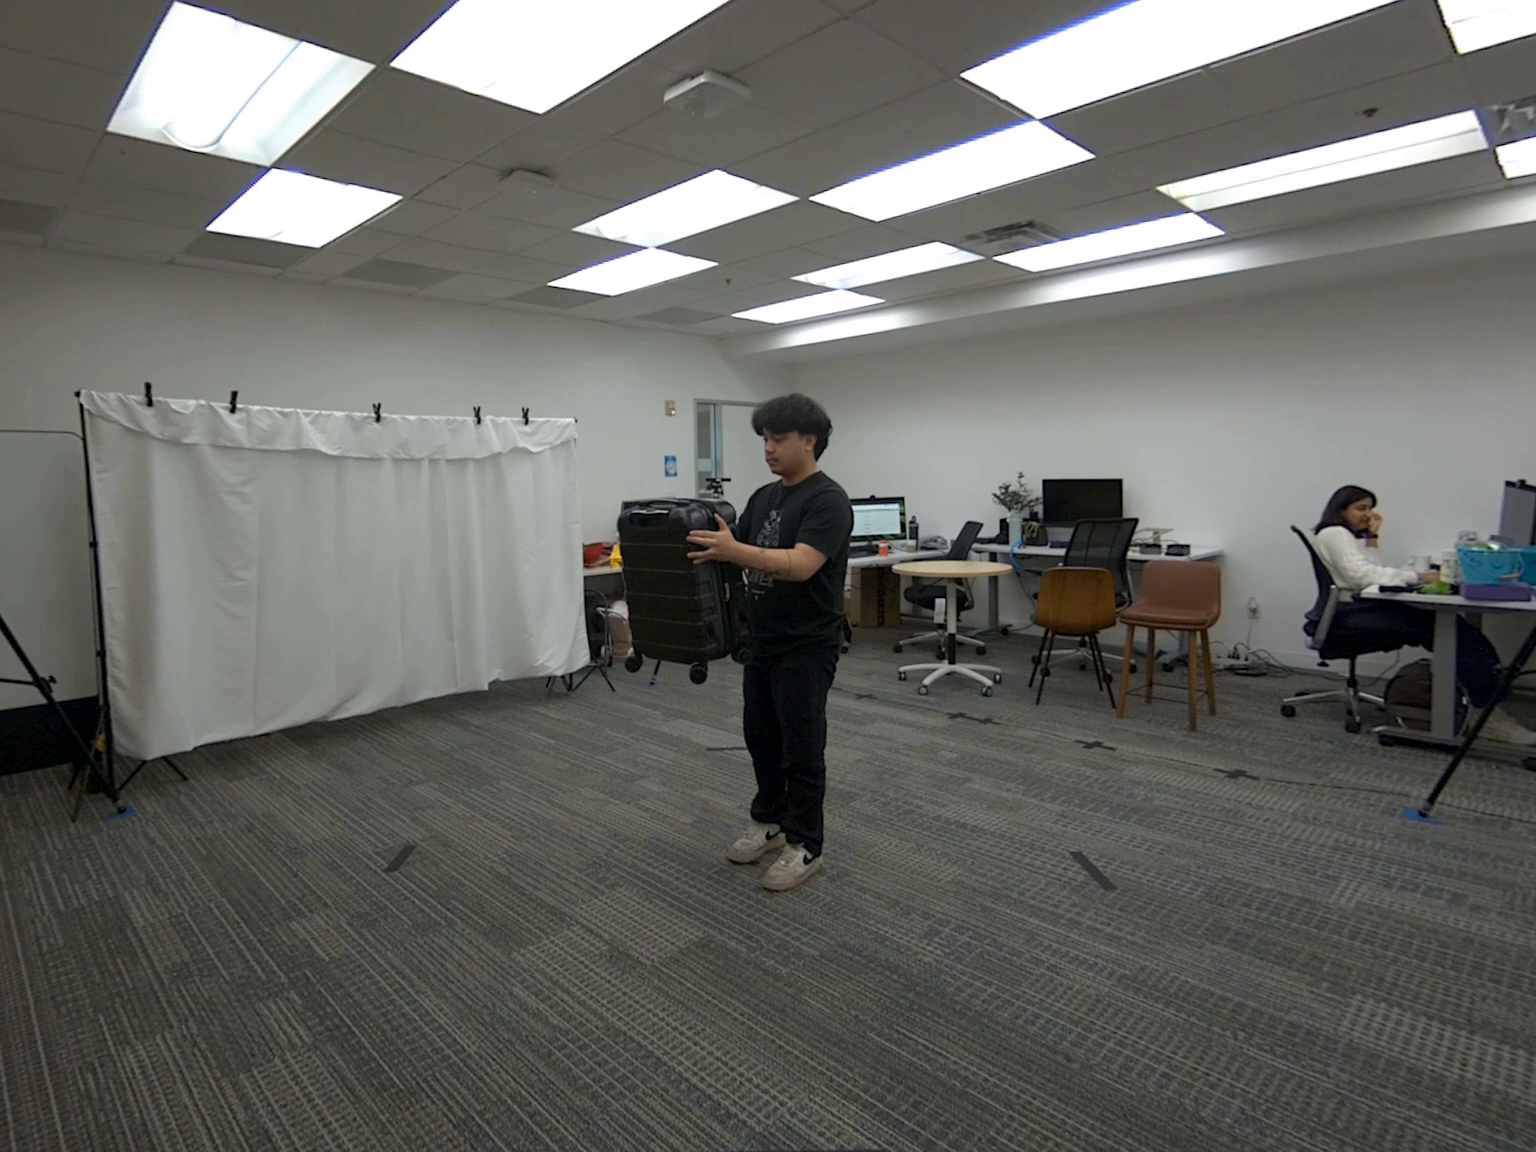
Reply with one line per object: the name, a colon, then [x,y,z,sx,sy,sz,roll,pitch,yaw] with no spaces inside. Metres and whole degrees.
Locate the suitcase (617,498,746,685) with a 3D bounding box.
suitcase: [-0.274,0.022,2.734,0.386,0.545,0.243,1,11,41]
